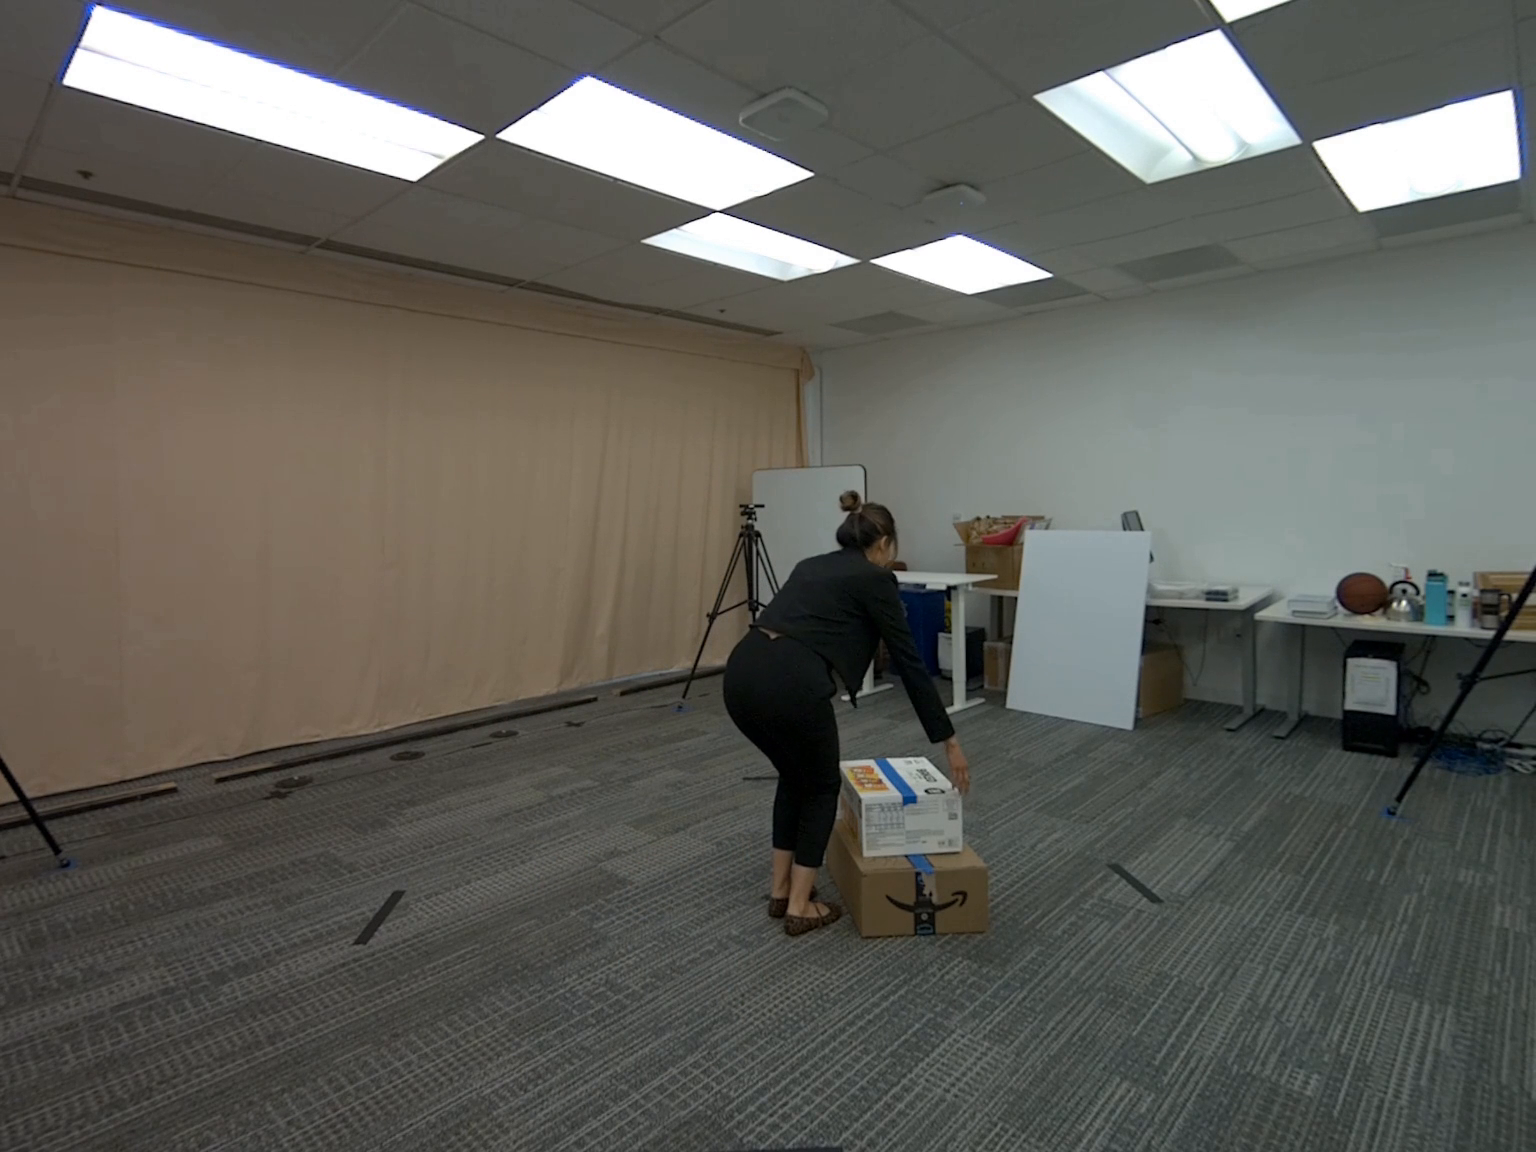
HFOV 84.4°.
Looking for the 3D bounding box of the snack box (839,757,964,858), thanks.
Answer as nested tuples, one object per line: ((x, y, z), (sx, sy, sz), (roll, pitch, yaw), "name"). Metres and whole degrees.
((0.459, 0.812, 2.993), (0.338, 0.205, 0.408), (-3, 5, -6), "snack box")
